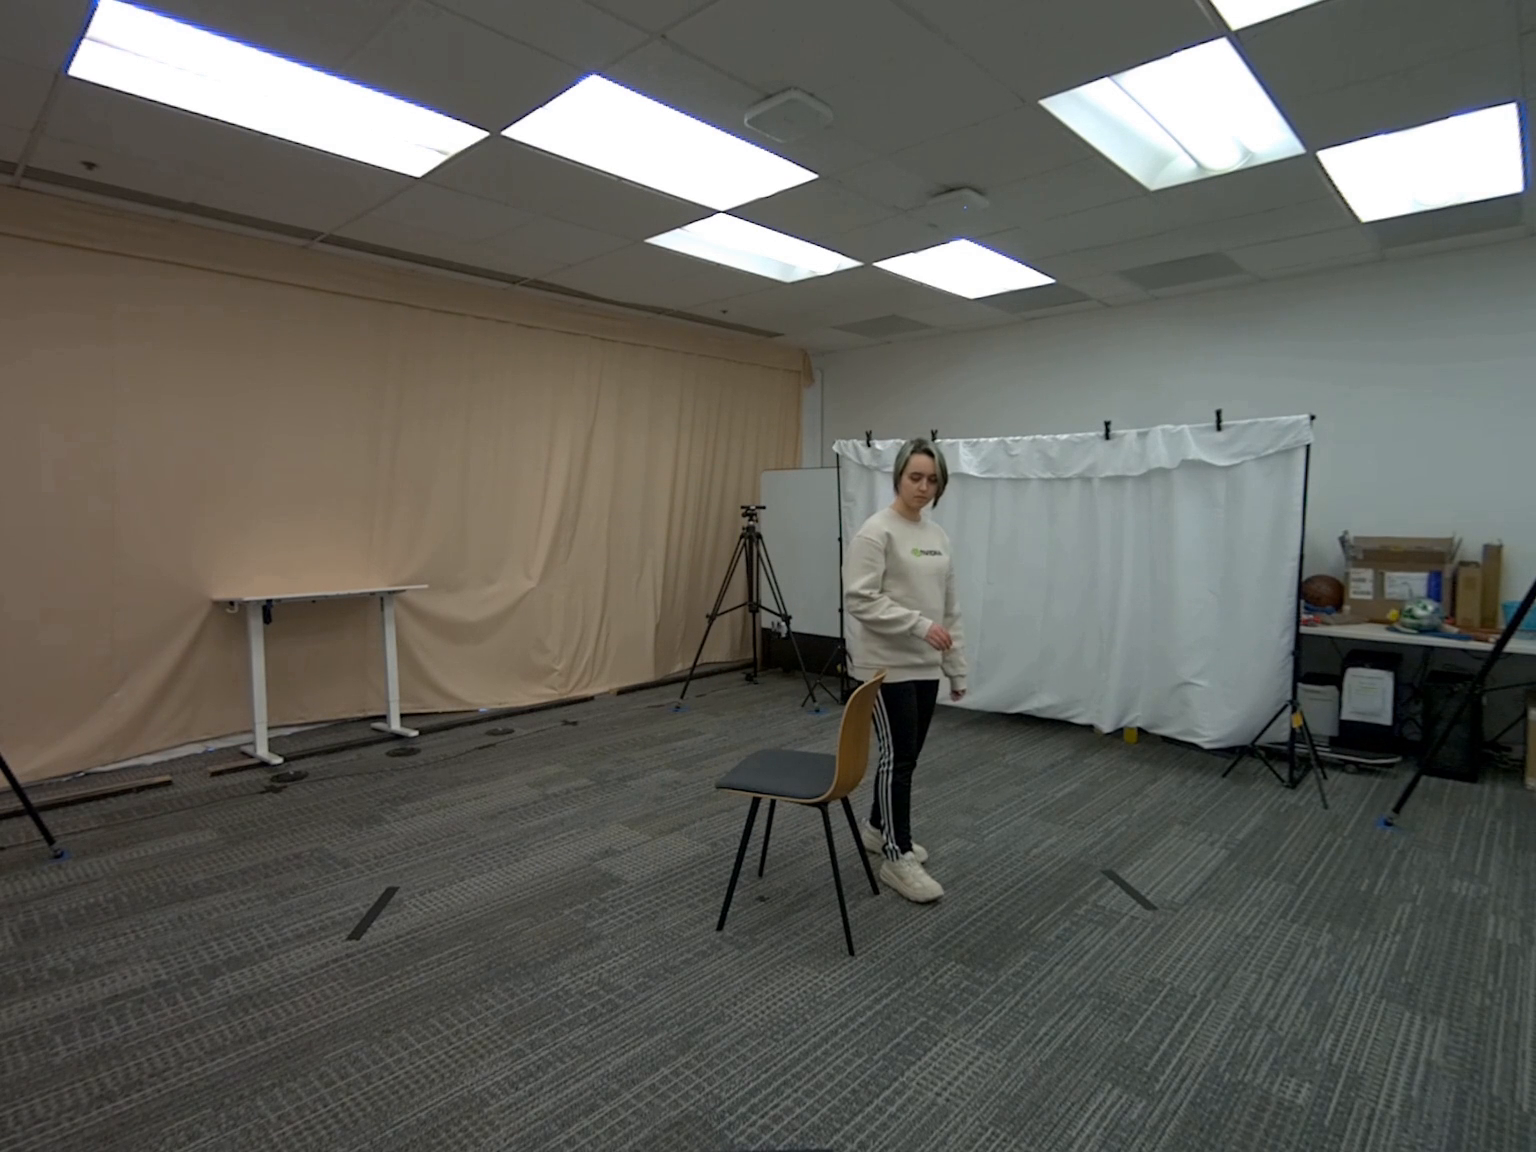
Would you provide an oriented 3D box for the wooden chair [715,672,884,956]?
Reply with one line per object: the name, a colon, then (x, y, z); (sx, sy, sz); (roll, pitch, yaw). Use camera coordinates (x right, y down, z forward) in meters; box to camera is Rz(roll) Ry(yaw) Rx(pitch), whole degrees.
wooden chair: (0.107, 0.726, 2.856); (0.535, 0.875, 0.469); (5, 5, 19)
